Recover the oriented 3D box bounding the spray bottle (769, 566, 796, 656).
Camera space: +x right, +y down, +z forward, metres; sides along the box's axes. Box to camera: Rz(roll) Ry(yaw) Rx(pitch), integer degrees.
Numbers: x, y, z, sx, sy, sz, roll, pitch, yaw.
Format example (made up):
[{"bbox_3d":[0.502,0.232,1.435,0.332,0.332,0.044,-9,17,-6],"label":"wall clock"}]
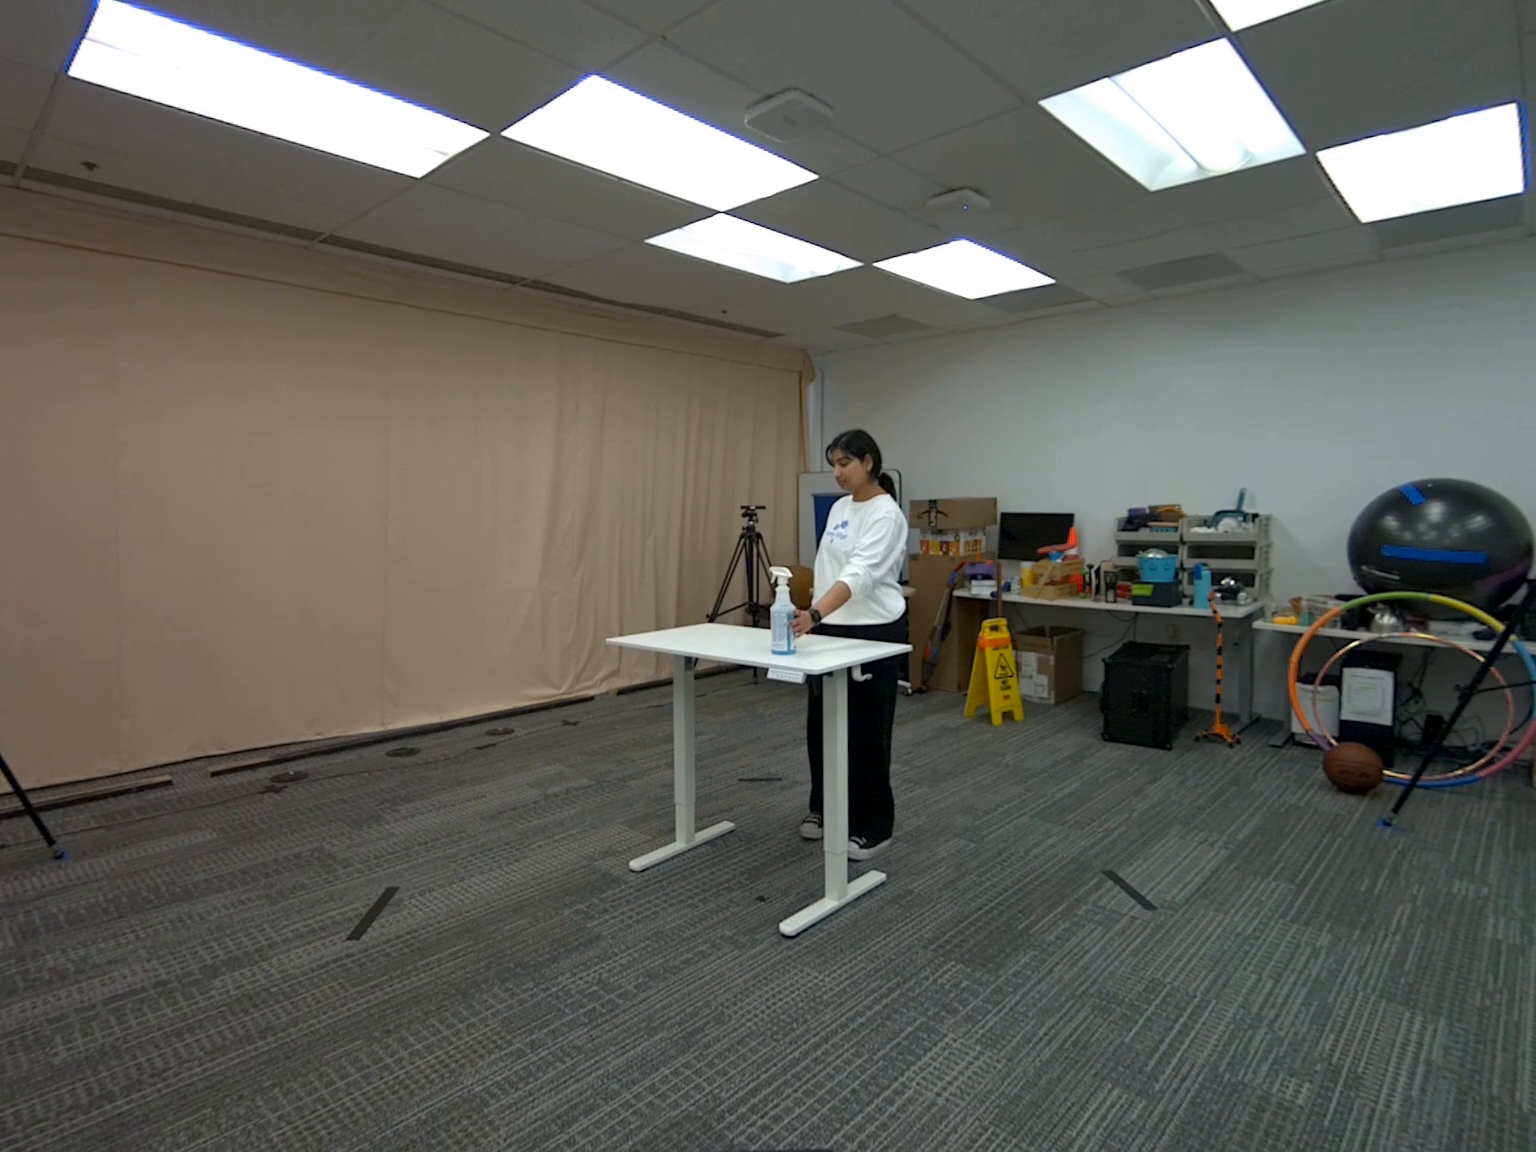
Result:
[{"bbox_3d":[0.056,0.120,2.892,0.085,0.297,0.092,-4,1,-22],"label":"spray bottle"}]
